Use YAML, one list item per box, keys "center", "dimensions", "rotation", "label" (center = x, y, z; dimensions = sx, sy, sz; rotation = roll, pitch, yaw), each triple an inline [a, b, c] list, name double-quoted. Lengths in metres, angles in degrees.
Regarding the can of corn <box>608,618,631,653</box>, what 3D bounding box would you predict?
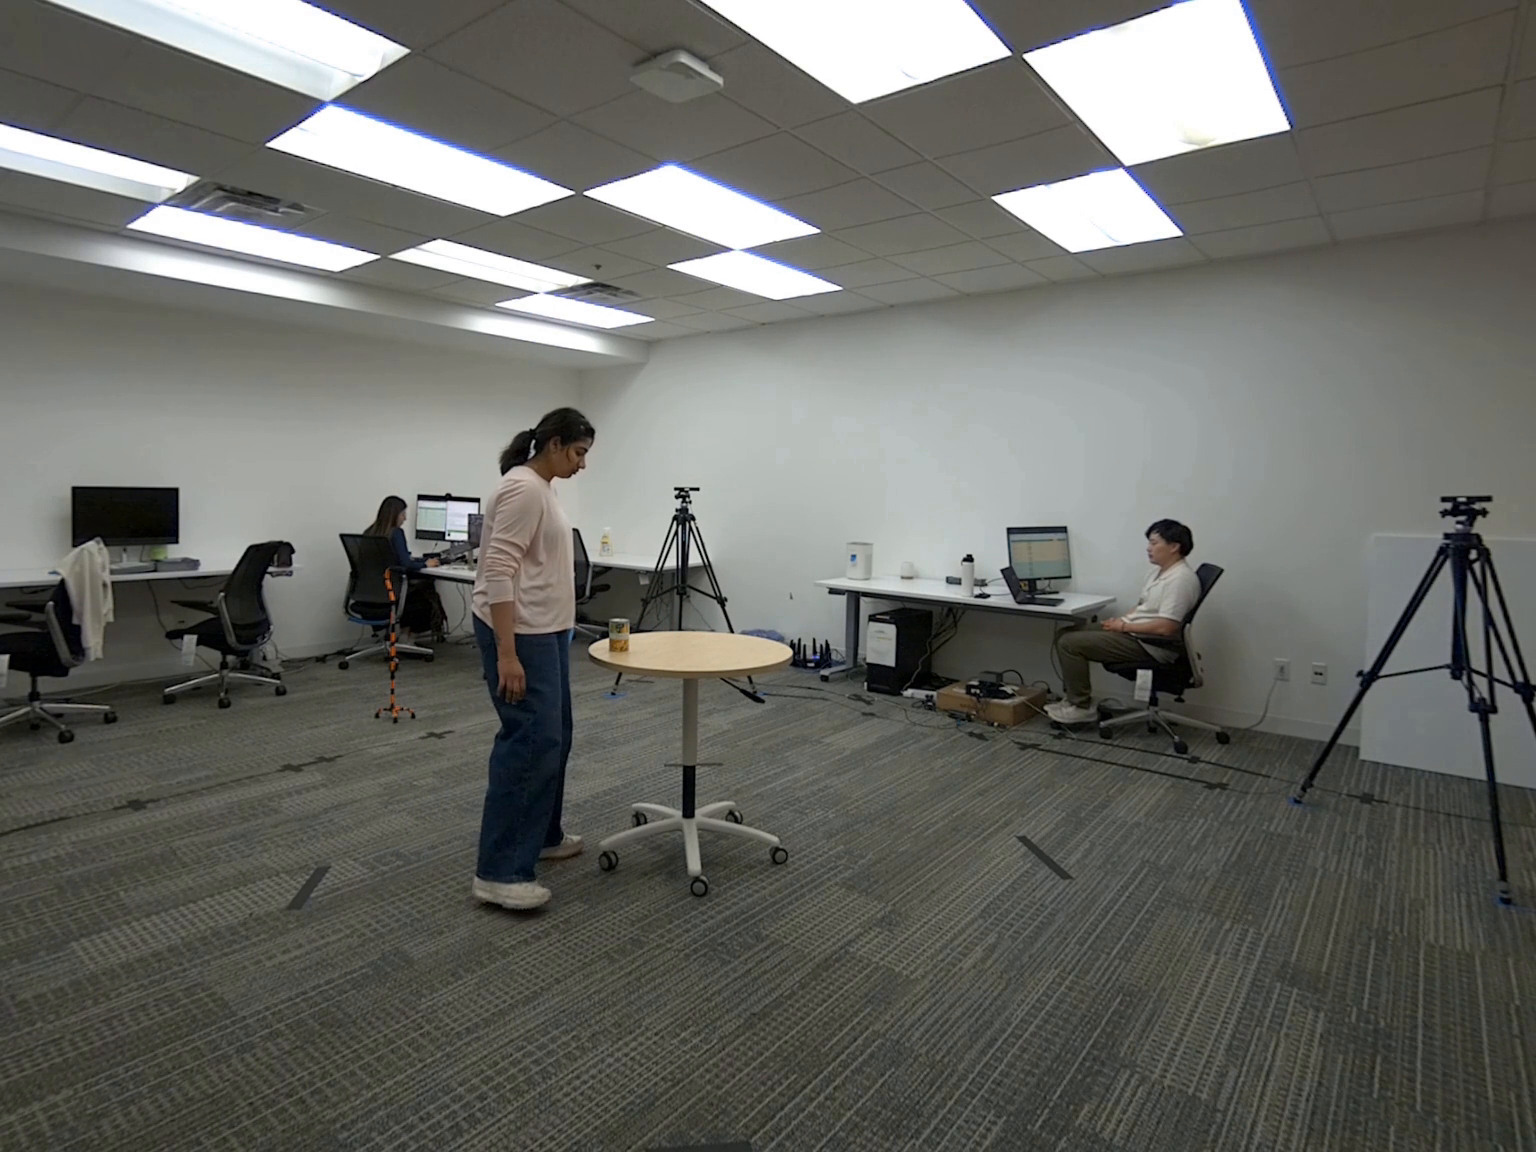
- center: [-0.566, 0.220, 3.149]
  dimensions: [0.074, 0.111, 0.074]
  rotation: [1, 4, -2]
  label: "can of corn"
